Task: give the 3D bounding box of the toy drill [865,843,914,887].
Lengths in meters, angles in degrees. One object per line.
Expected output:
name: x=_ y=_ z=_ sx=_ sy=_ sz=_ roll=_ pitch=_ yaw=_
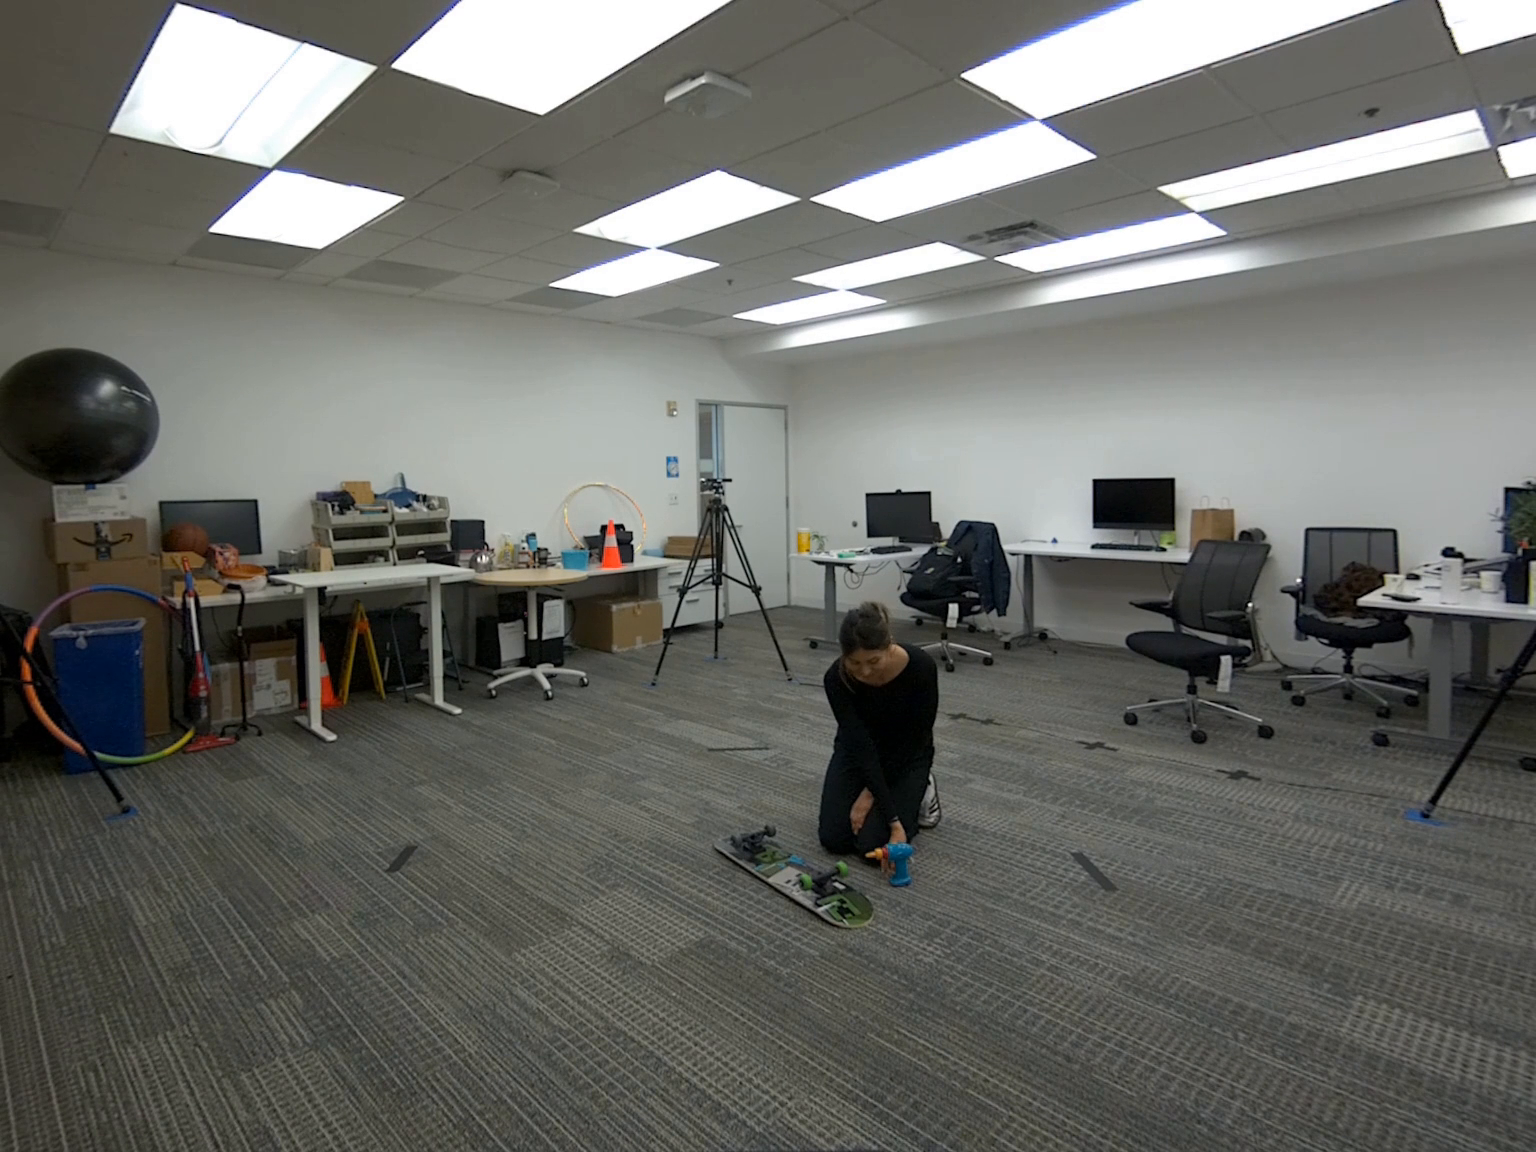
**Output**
toy drill: x=0.427 y=0.993 z=2.923 sx=0.168 sy=0.145 sz=0.062 roll=-4 pitch=4 yaw=-10
